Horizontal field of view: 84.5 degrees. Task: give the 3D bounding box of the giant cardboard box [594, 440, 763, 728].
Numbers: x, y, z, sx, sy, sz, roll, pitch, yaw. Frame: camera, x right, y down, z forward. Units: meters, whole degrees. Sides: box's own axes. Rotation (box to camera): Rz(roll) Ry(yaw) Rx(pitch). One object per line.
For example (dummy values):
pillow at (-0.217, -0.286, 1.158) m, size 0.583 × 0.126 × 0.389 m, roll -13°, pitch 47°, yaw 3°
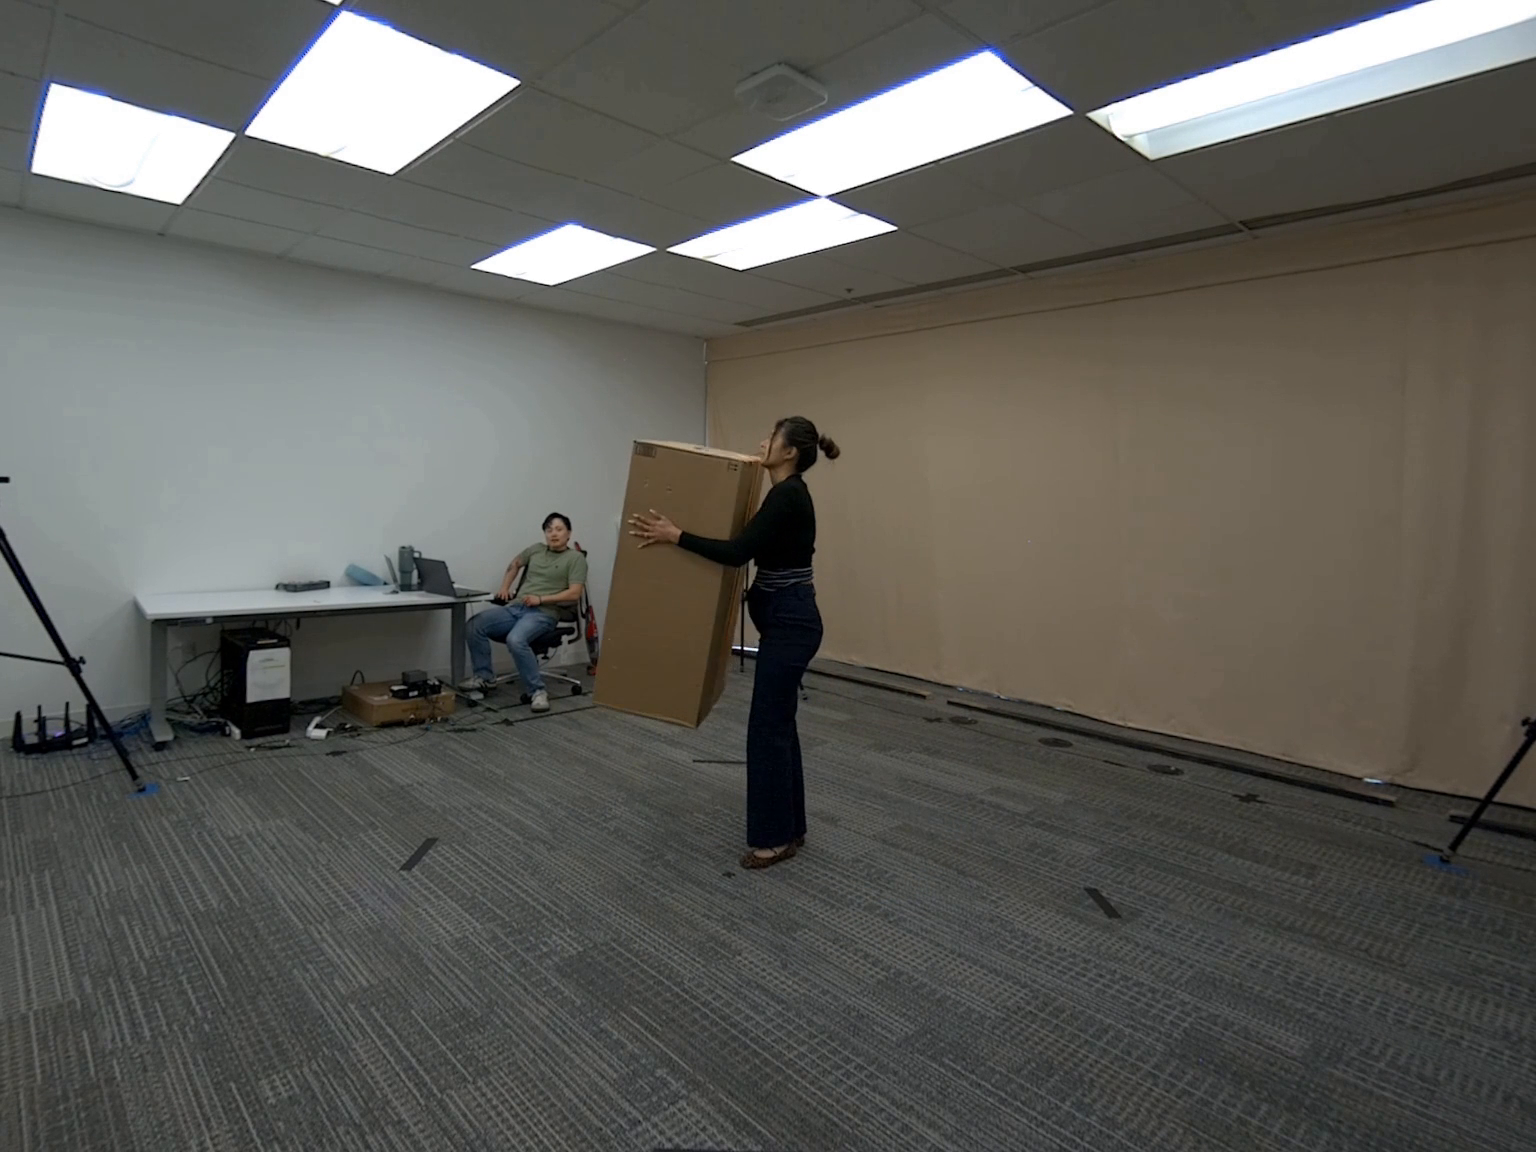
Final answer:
giant cardboard box at (-0.341, 0.001, 3.387) m, size 0.430 × 1.021 × 0.575 m, roll 11°, pitch 8°, yaw 8°
